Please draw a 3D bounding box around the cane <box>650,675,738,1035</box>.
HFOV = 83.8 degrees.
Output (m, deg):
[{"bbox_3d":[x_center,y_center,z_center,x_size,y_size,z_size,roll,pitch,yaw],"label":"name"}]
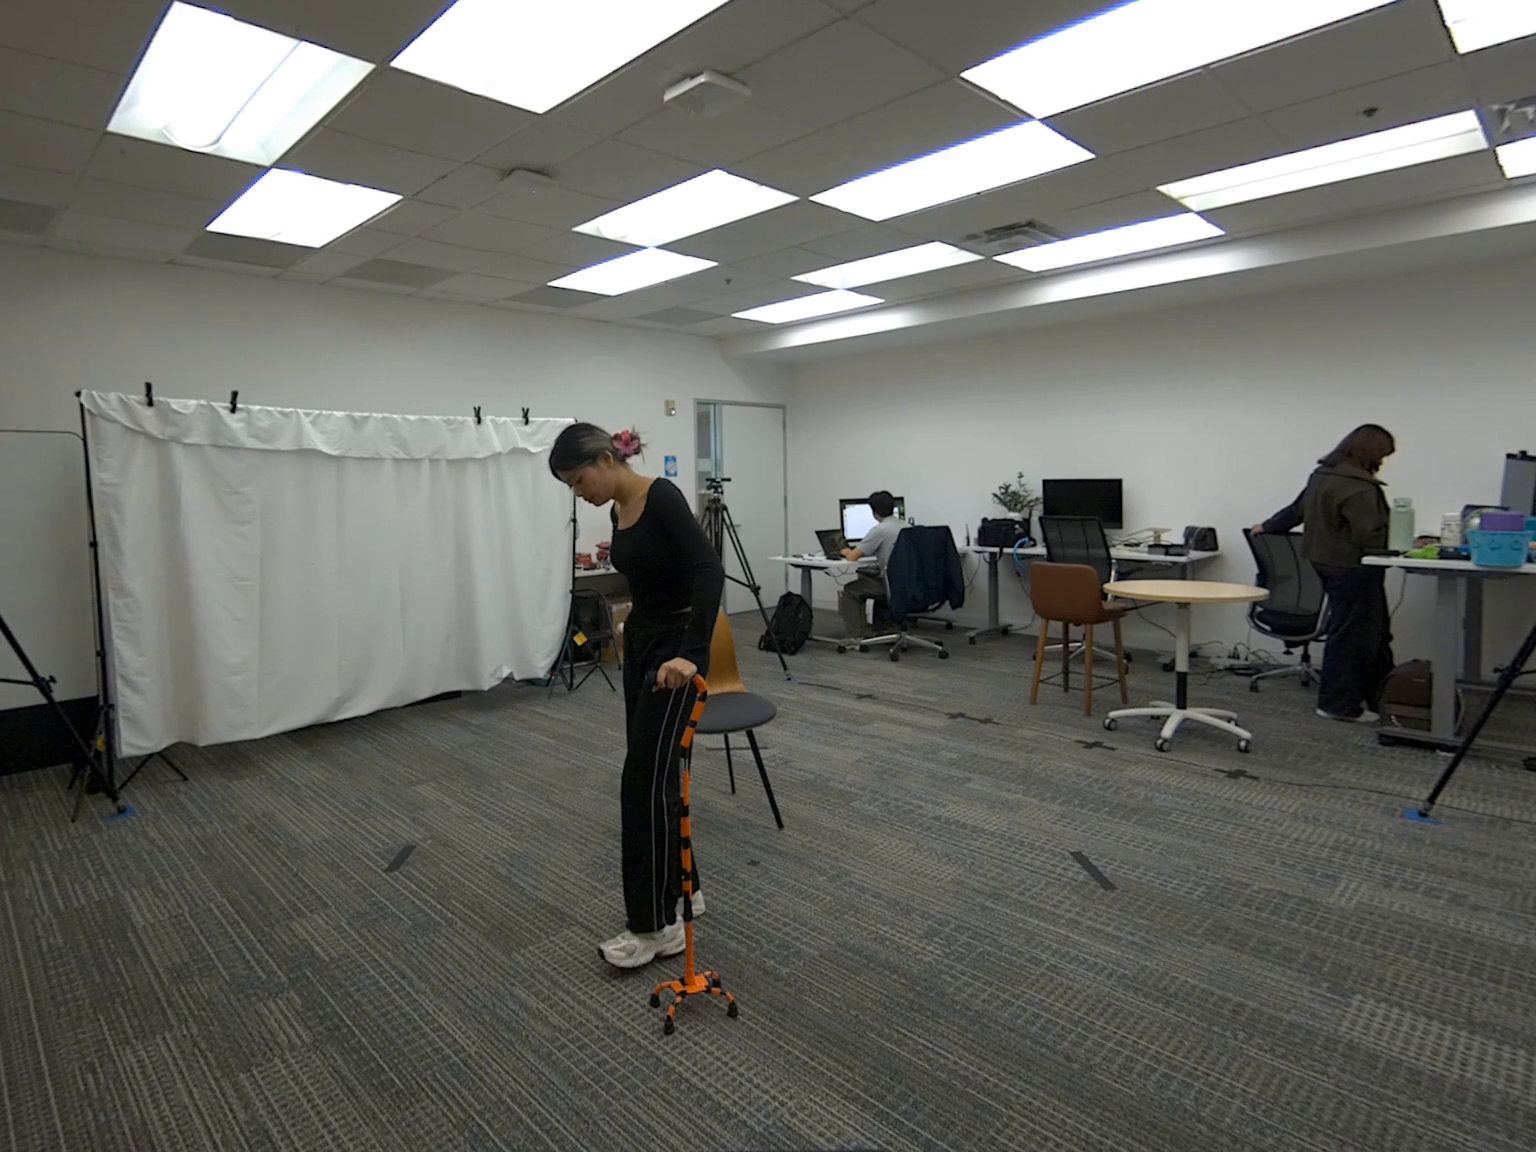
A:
[{"bbox_3d":[-0.204,0.702,2.220,0.203,0.904,0.155,-4,5,-22],"label":"cane"}]
